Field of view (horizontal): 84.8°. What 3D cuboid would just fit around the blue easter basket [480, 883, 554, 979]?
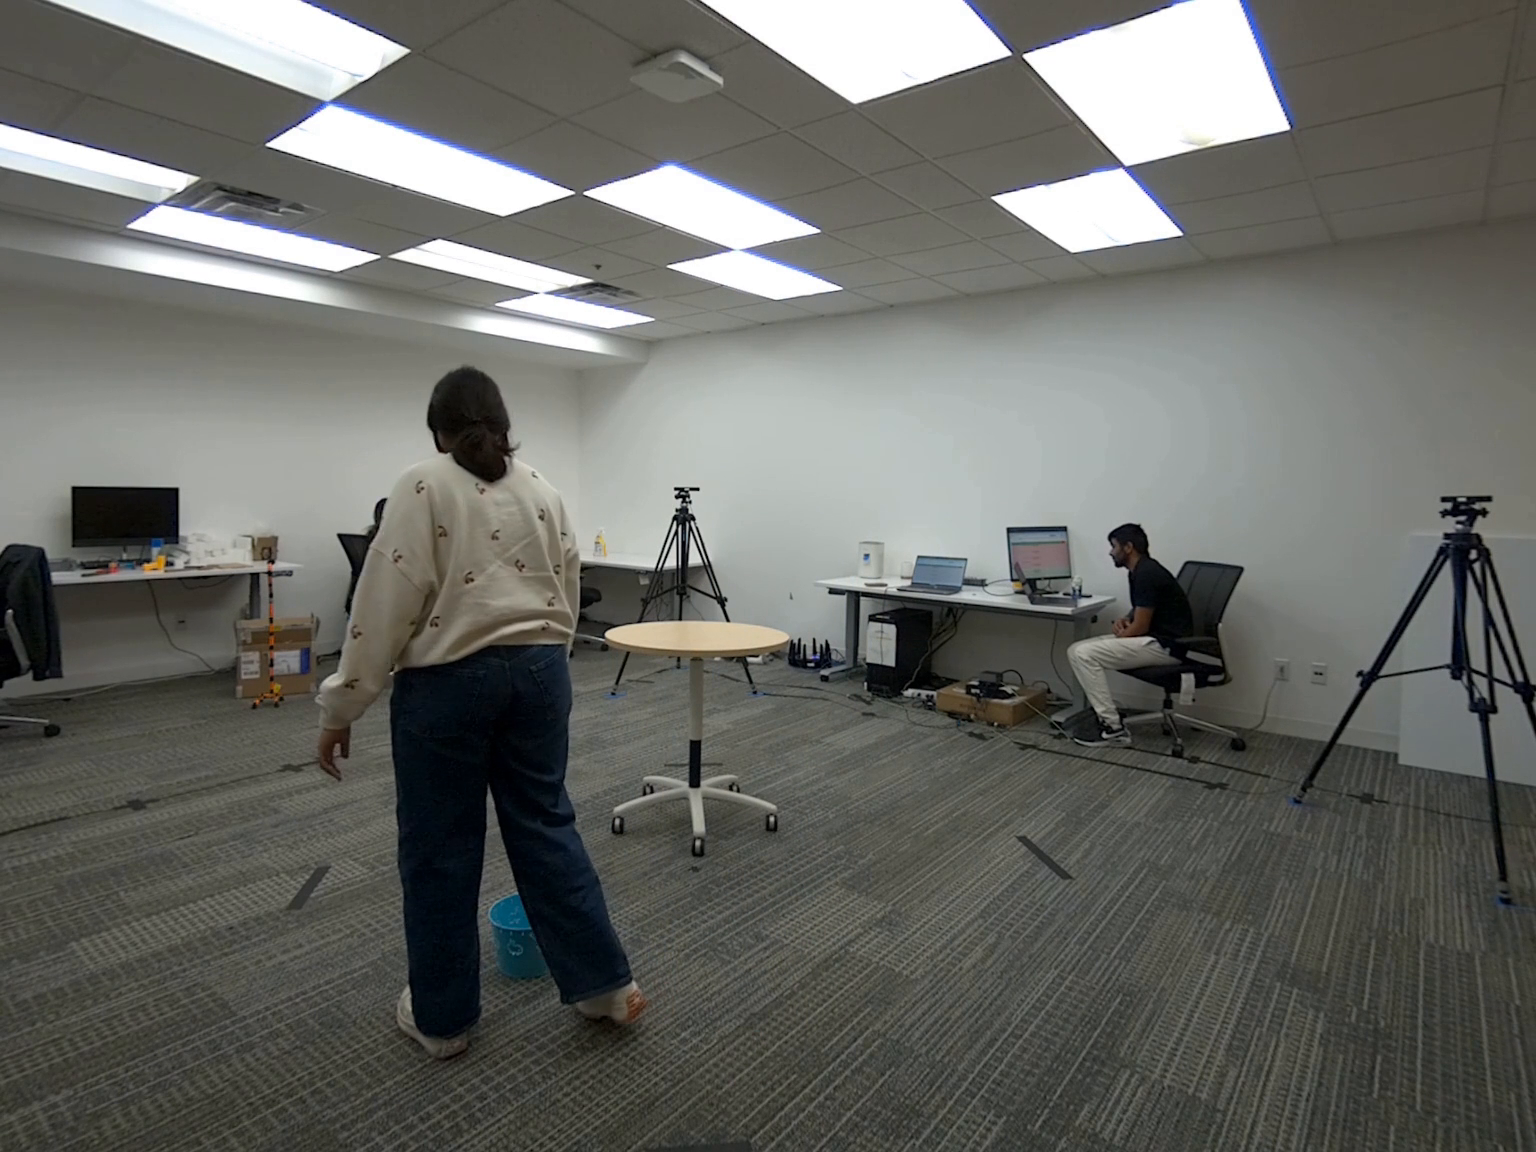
[{"bbox_3d":[-0.694,1.038,2.478,0.243,0.155,0.245,0,5,-2],"label":"blue easter basket"}]
